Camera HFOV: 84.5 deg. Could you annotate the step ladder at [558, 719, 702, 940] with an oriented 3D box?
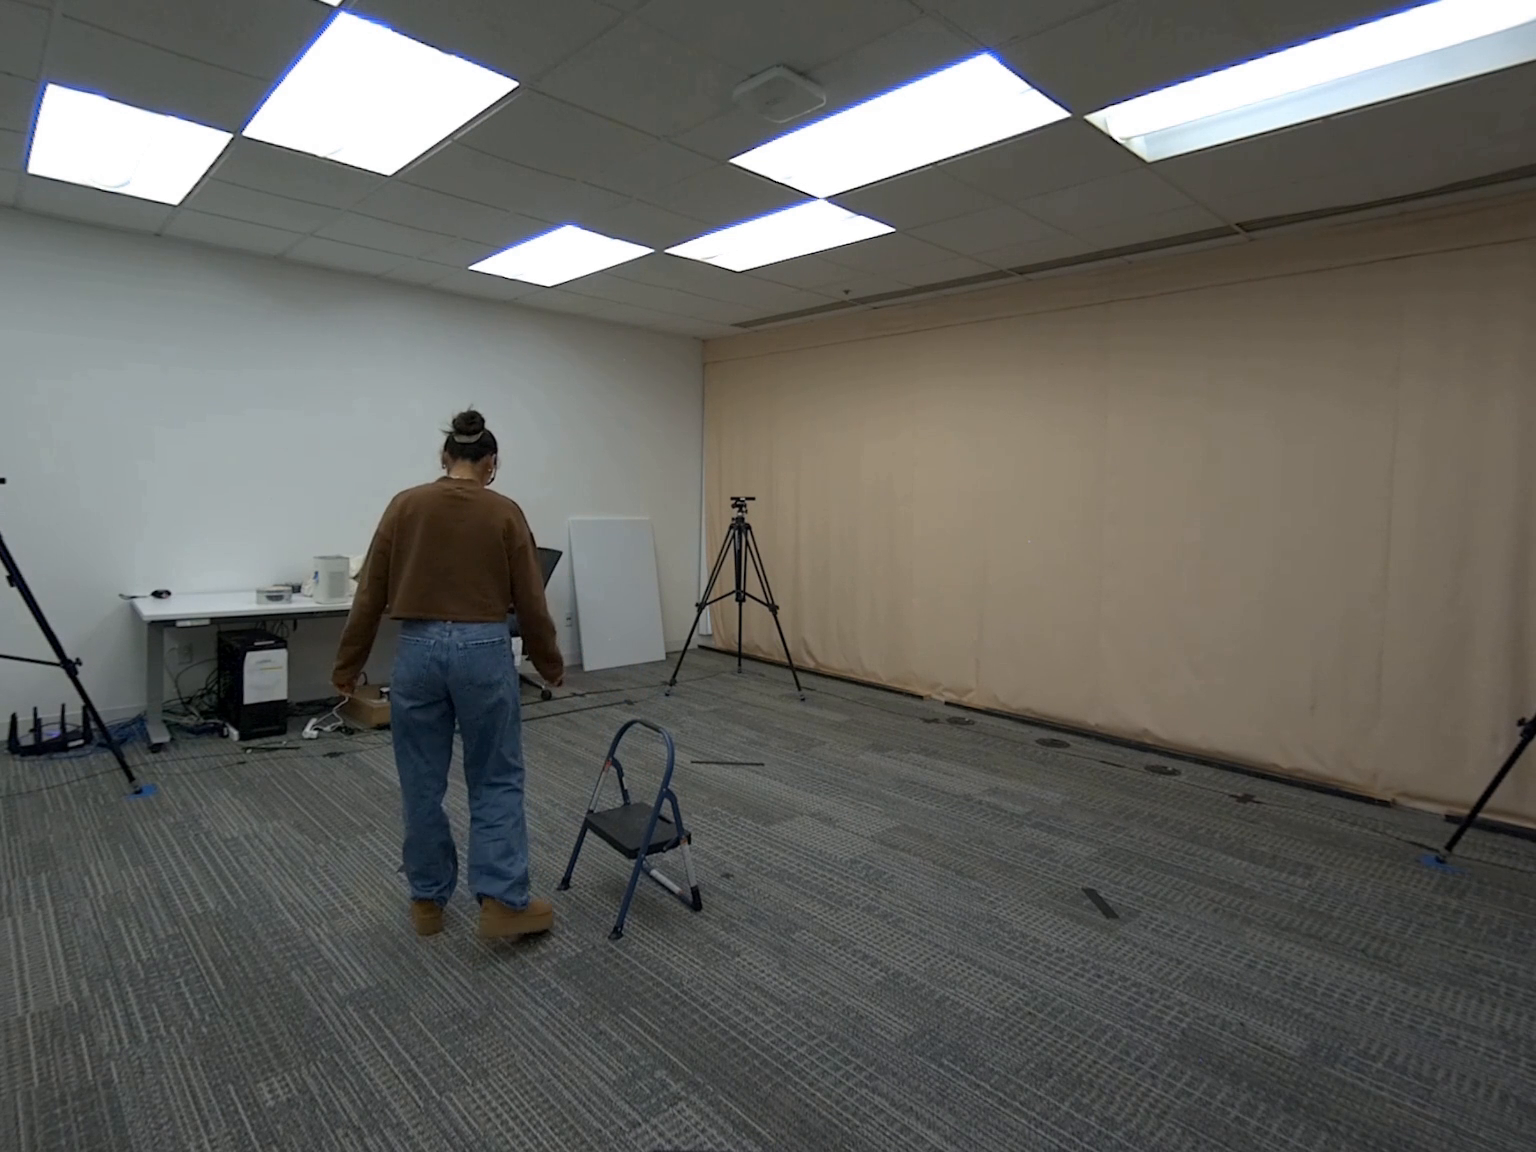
[{"bbox_3d":[-0.477,0.816,2.888,0.341,0.605,0.441,-1,4,-37],"label":"step ladder"}]
